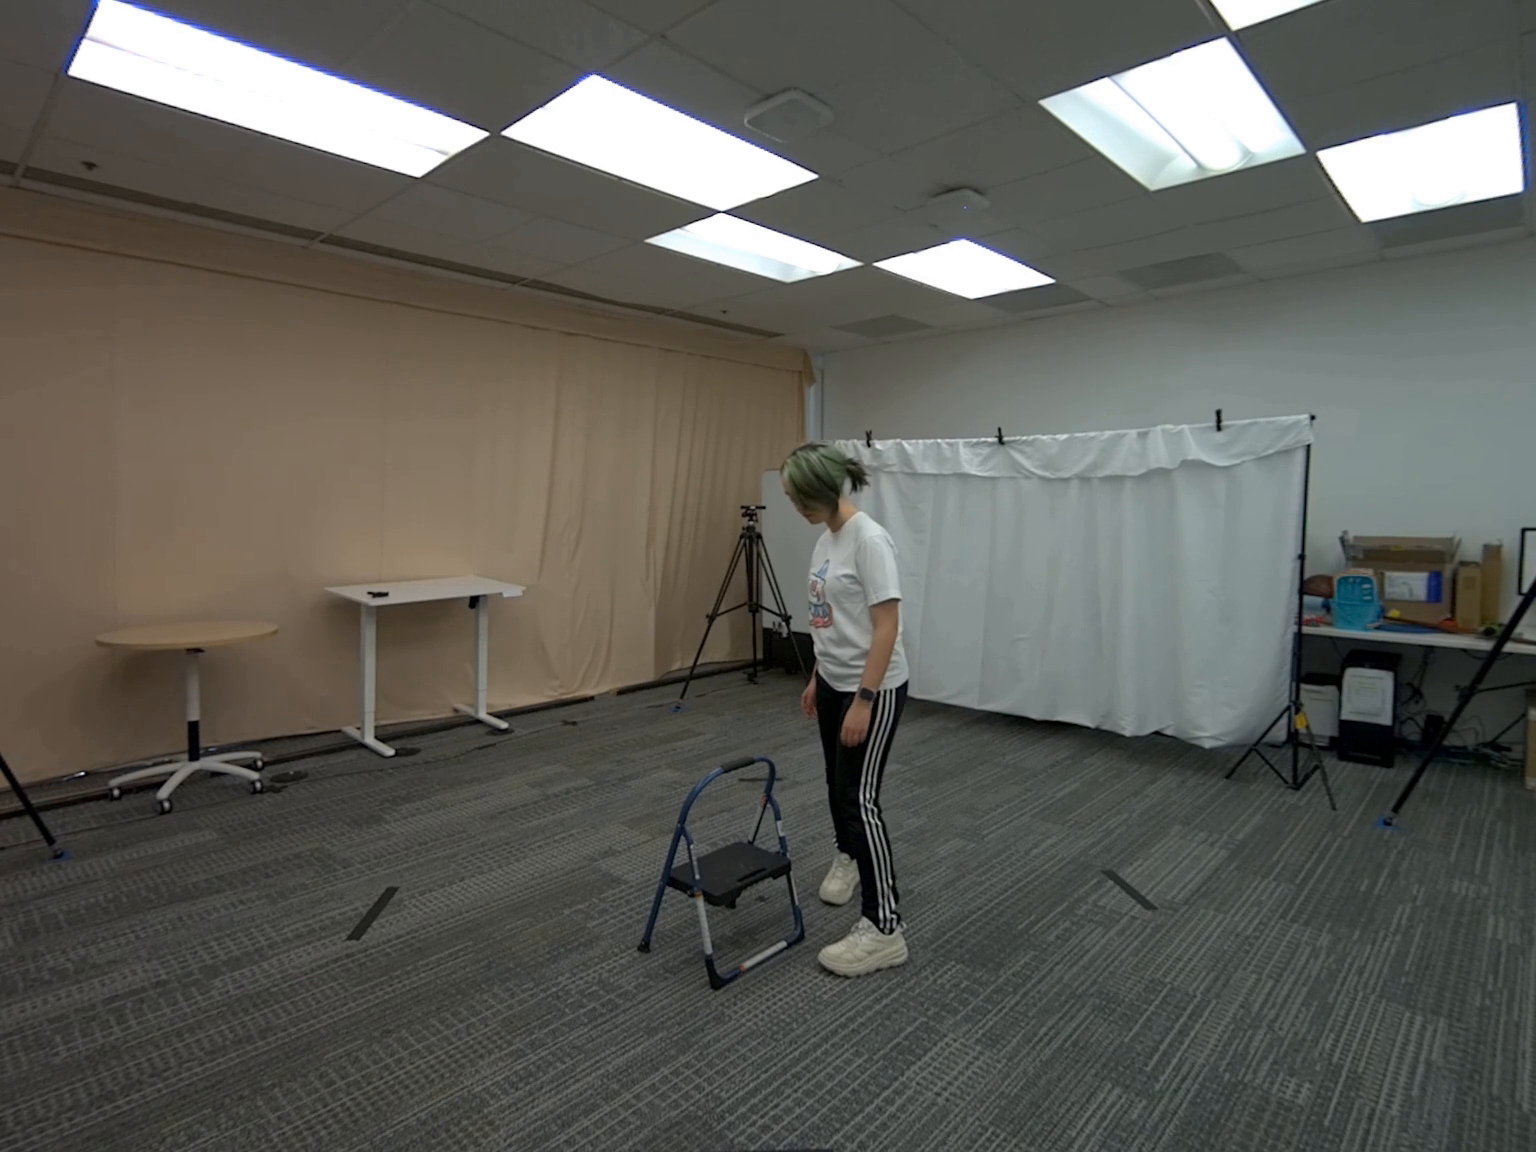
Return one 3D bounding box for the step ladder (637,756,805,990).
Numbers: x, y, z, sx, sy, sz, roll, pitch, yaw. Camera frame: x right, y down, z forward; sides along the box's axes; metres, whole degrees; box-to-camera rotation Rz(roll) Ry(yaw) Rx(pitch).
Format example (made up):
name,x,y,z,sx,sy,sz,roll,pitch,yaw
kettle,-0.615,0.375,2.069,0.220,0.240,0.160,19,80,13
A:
name,x,y,z,sx,sy,sz,roll,pitch,yaw
step ladder,-0.140,0.868,2.665,0.361,0.605,0.417,2,5,43
